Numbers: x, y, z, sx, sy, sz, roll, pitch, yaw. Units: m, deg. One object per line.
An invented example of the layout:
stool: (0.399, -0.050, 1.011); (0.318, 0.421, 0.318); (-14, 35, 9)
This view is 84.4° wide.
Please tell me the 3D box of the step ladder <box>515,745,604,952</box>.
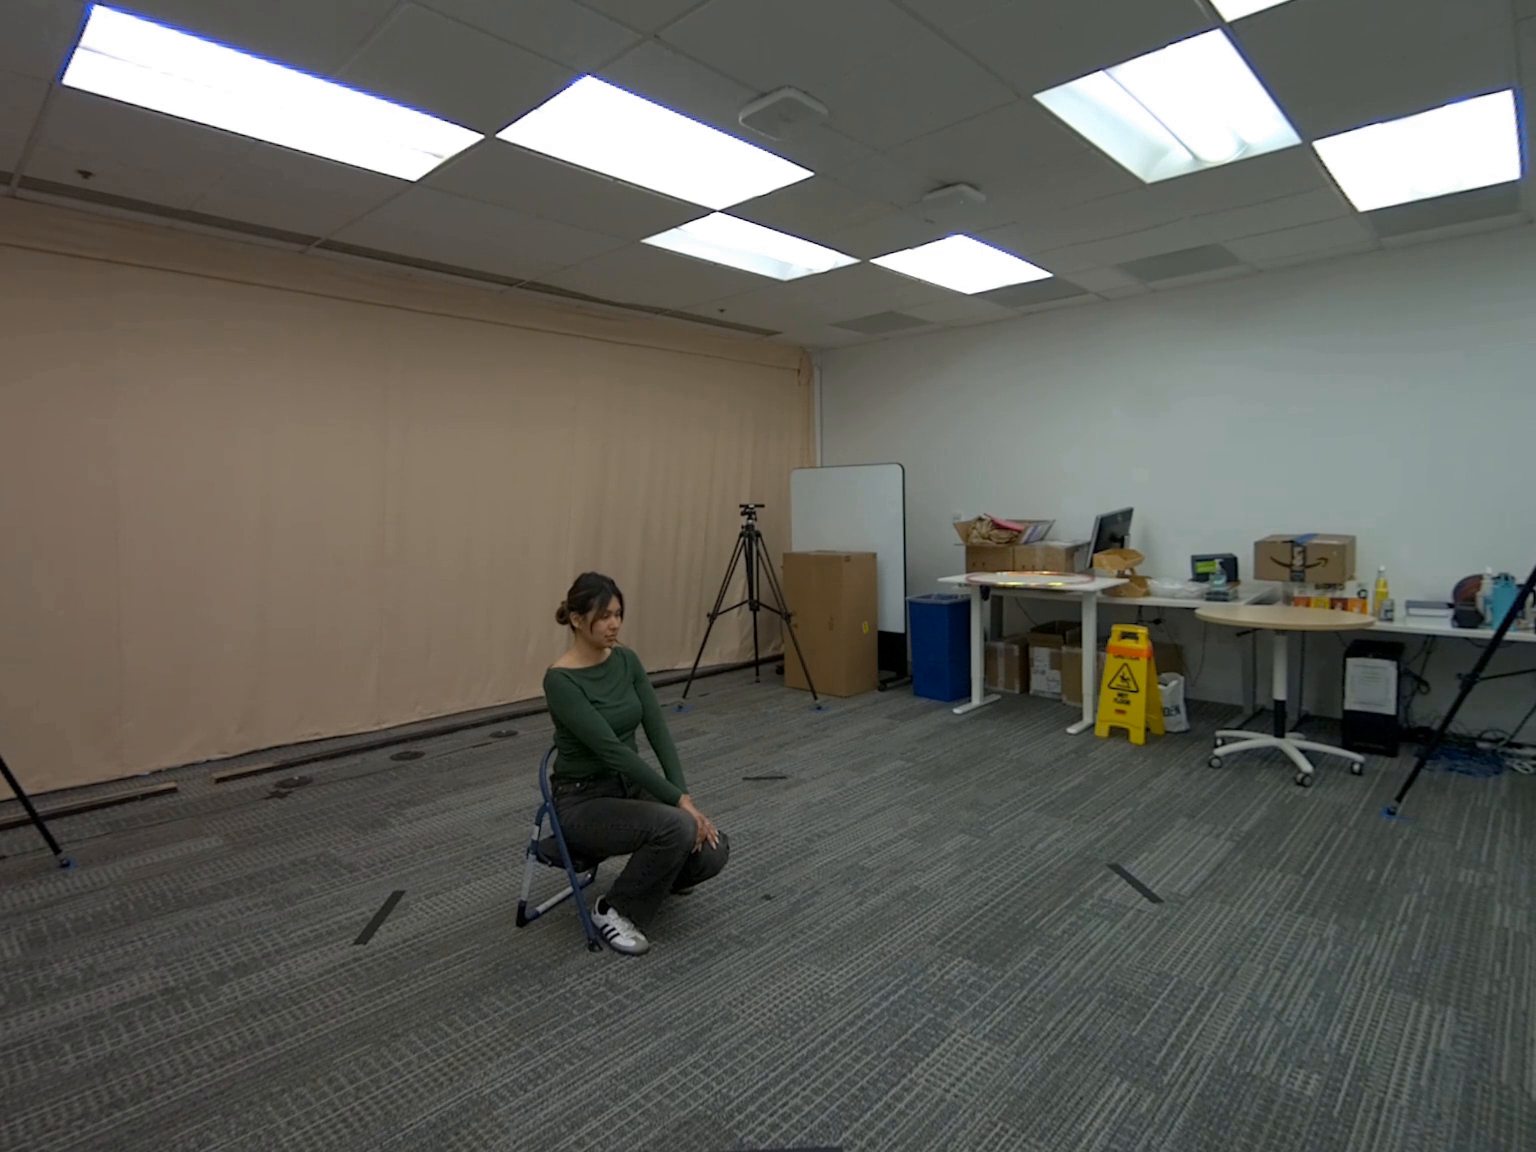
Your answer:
step ladder: (-0.613, 0.866, 2.898); (0.359, 0.605, 0.420); (0, 3, 27)
